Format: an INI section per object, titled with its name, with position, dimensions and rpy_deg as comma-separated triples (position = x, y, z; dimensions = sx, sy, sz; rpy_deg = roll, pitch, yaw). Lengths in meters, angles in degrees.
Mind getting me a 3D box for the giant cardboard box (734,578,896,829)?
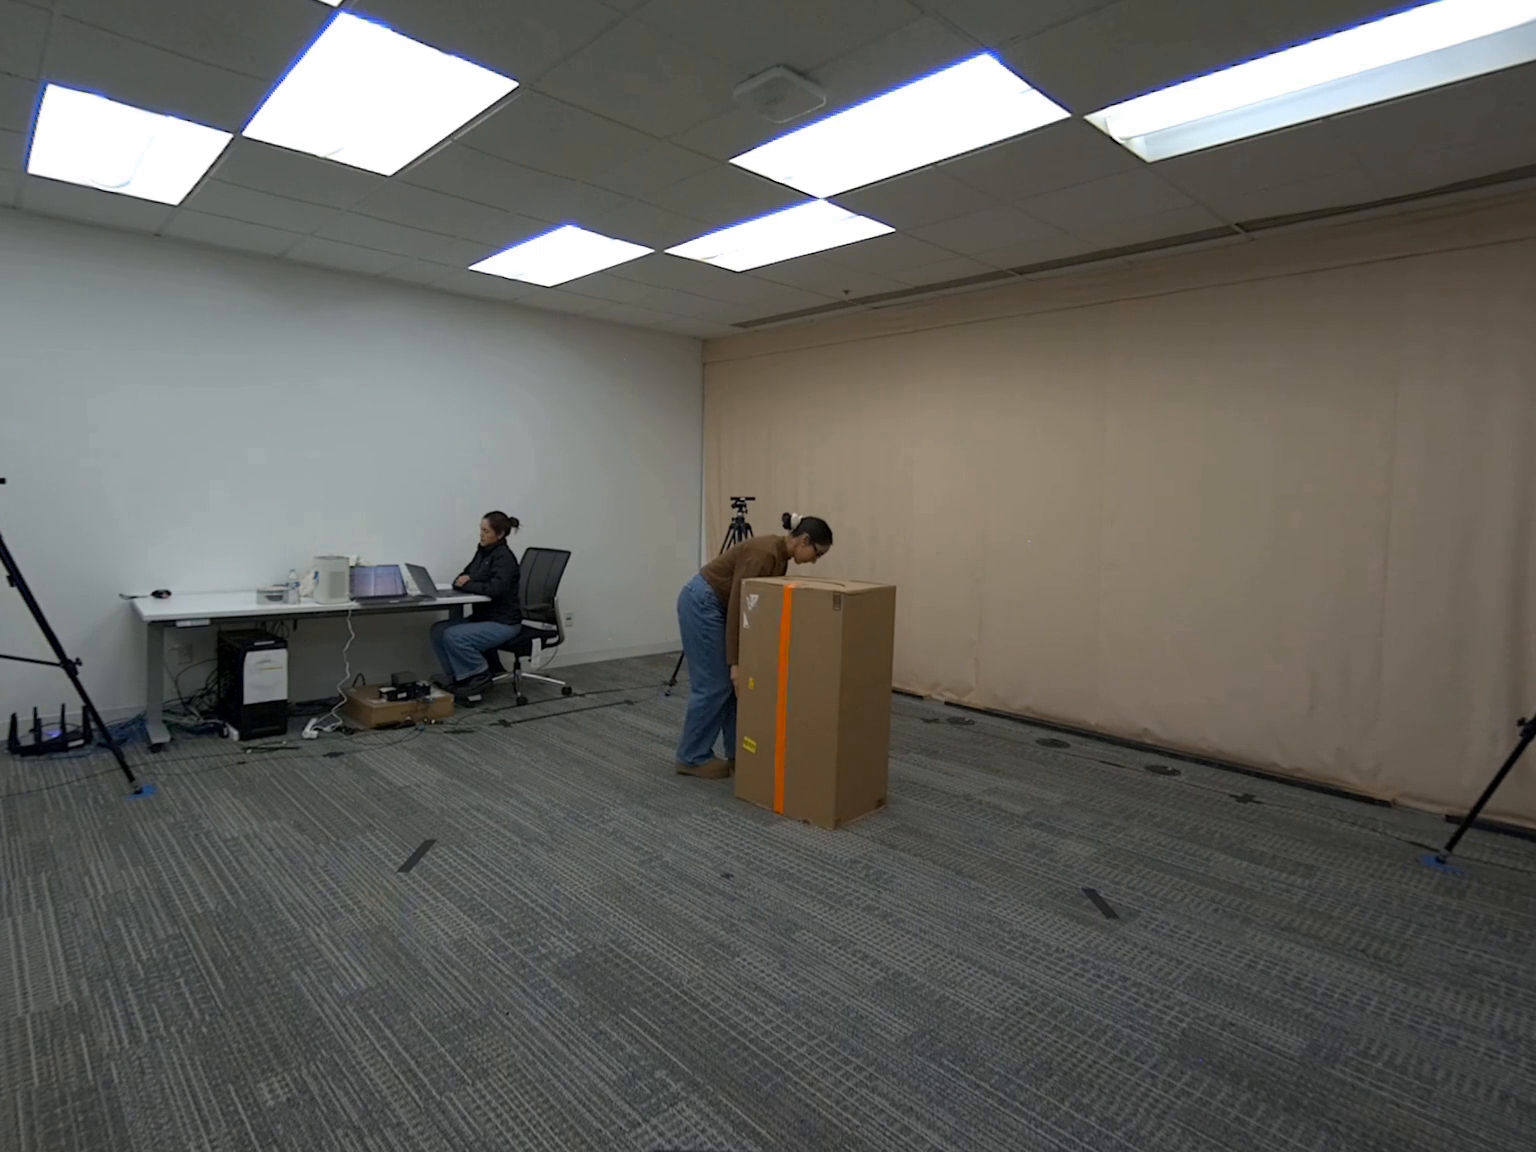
[giant cardboard box]
position = 0.202, 0.542, 3.867
dimensions = 0.592, 1.023, 0.416
rpy_deg = 5, 5, 42
